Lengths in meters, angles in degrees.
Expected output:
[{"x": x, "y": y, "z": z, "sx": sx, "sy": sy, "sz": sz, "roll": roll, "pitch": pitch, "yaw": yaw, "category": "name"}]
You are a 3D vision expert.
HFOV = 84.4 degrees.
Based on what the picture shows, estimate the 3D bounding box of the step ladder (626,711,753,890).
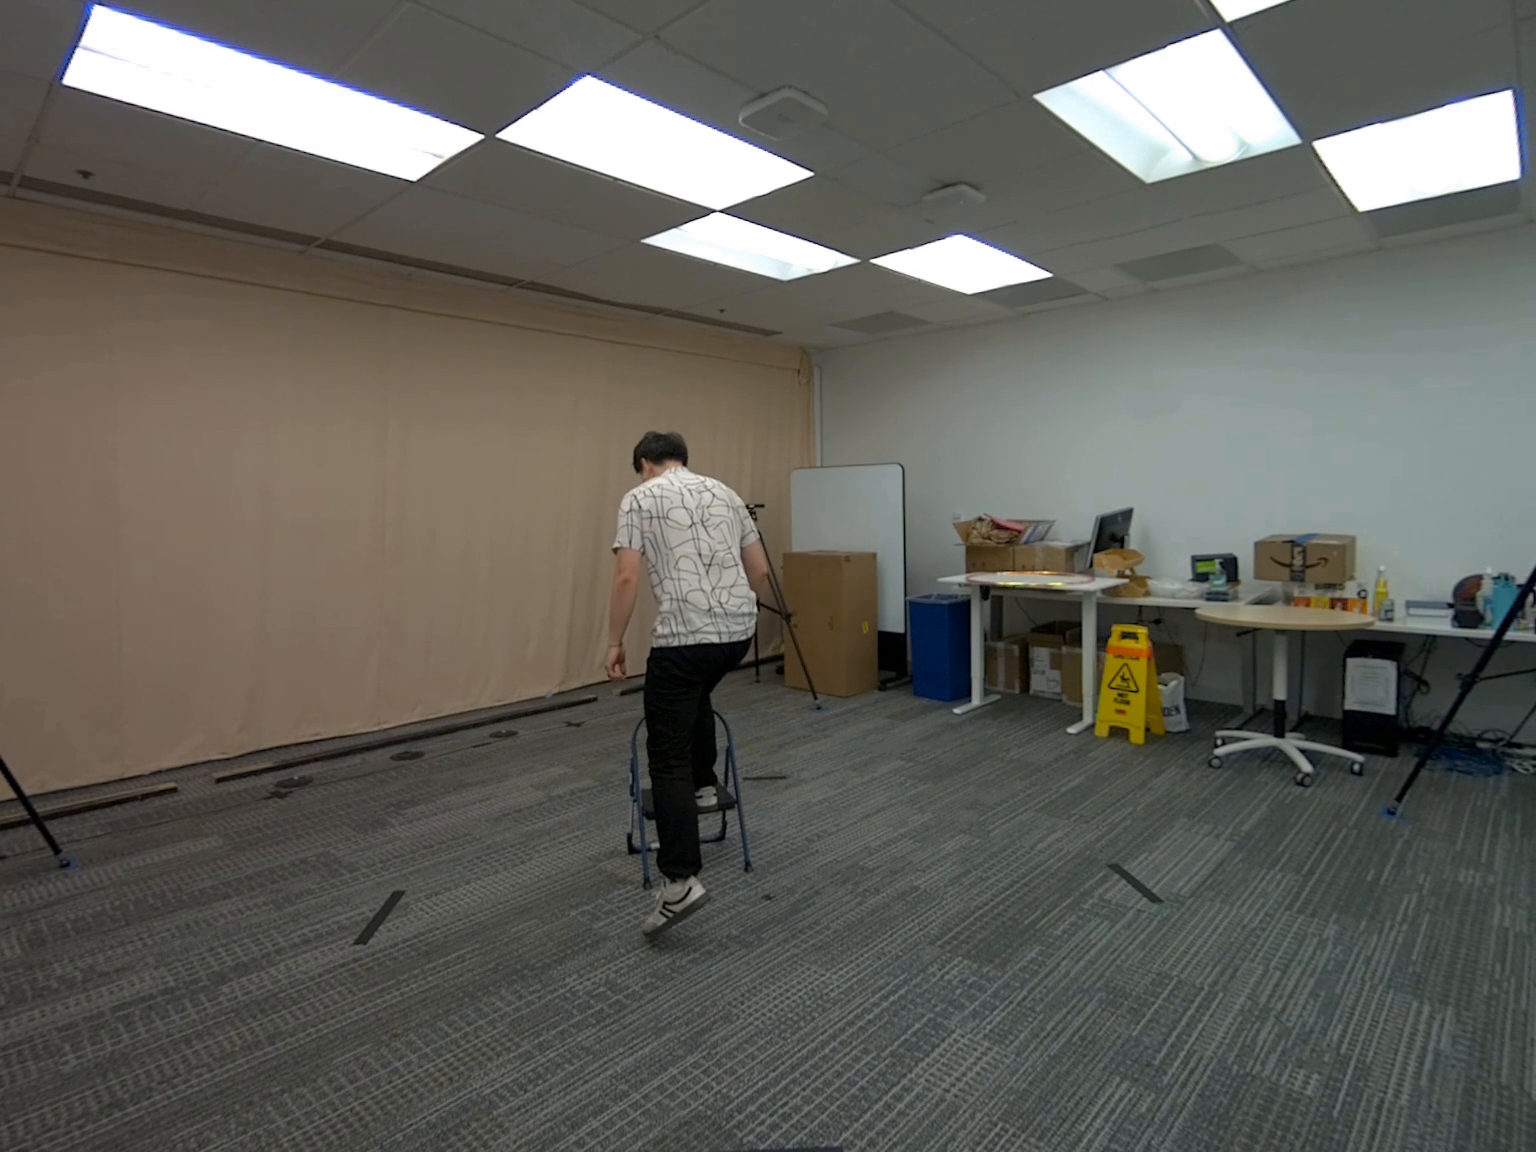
[{"x": -0.320, "y": 0.819, "z": 3.284, "sx": 0.422, "sy": 0.605, "sz": 0.357, "roll": -2, "pitch": 3, "yaw": -20, "category": "step ladder"}]
